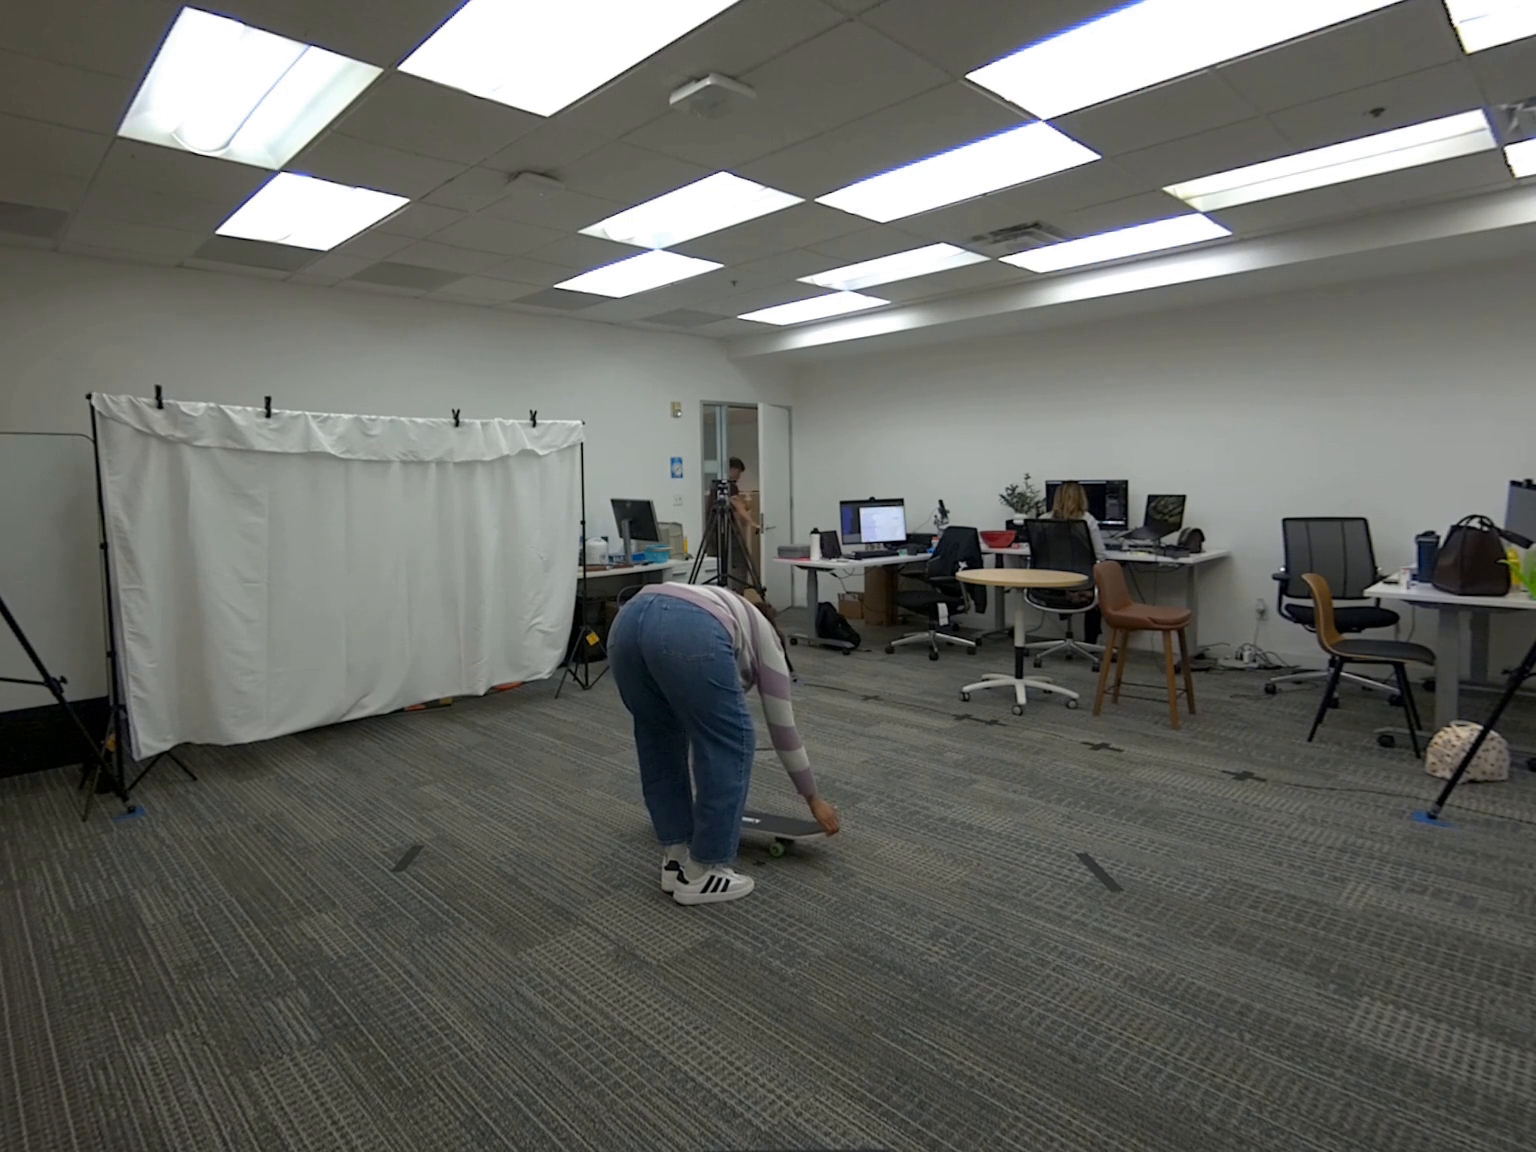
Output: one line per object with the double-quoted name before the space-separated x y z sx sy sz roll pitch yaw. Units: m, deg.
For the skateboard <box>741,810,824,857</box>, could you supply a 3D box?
"skateboard" -0.119 0.963 3.298 0.803 0.110 0.189 2 2 24
